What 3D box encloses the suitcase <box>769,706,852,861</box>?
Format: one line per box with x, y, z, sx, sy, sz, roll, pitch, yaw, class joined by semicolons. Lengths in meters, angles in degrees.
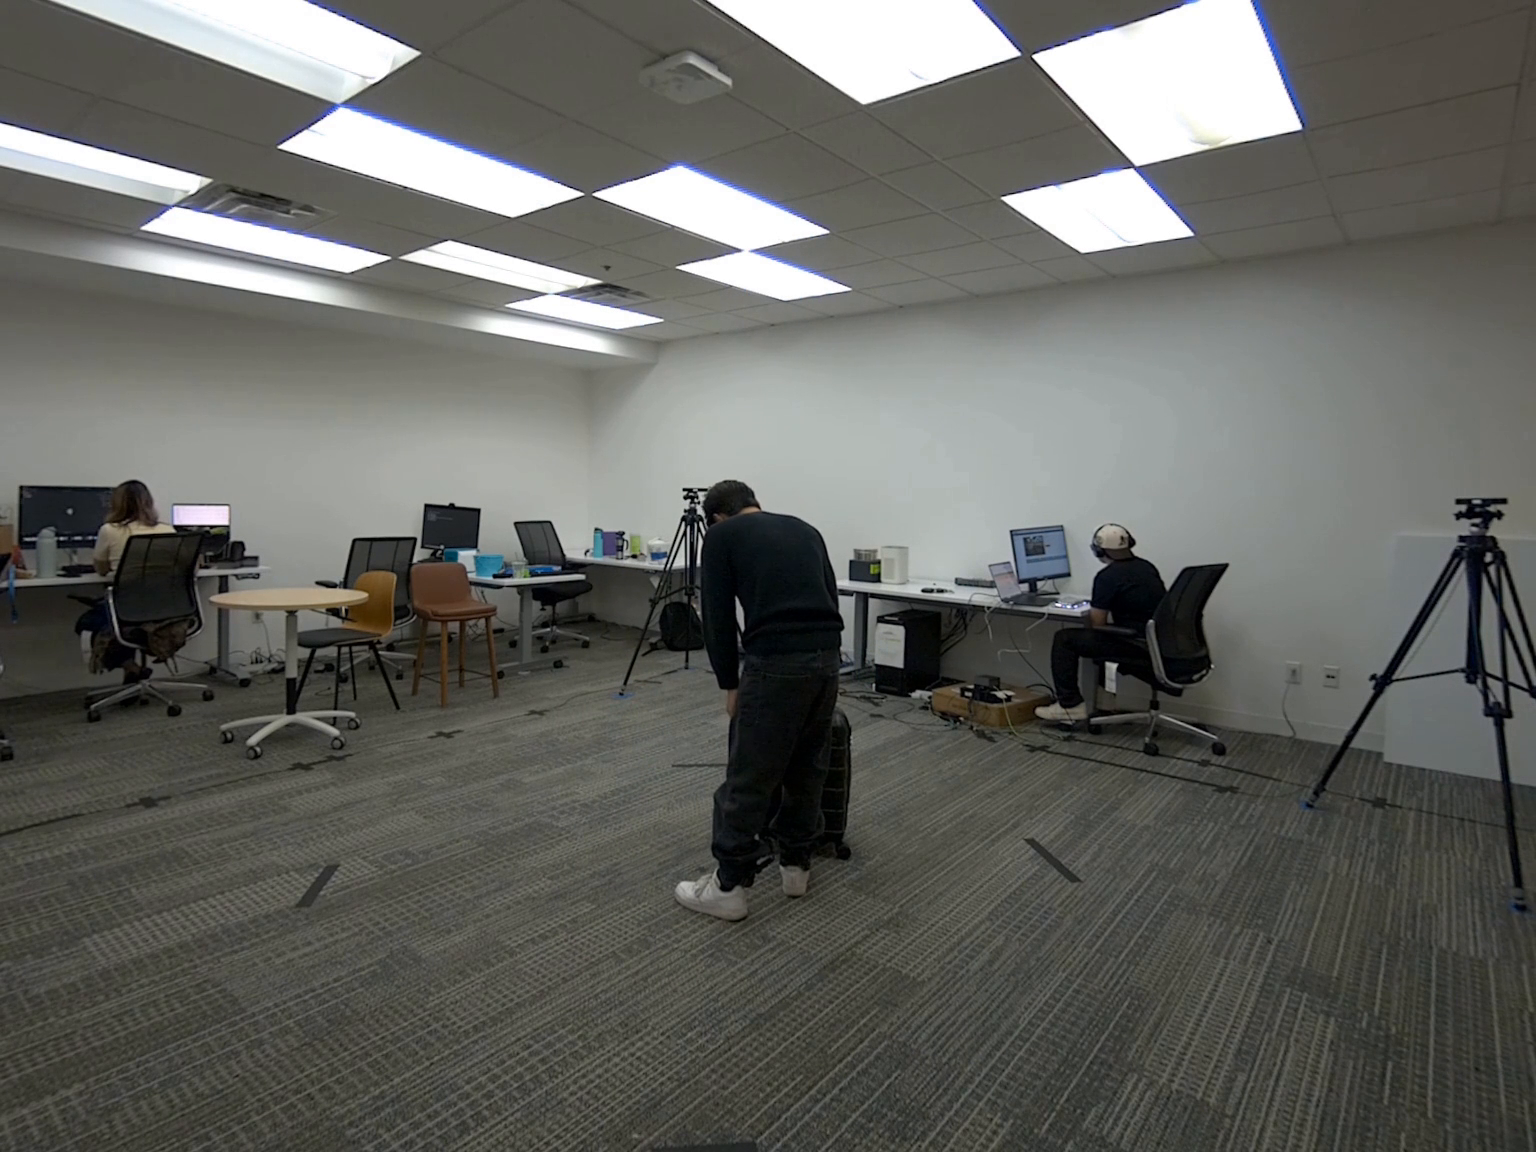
0.129;0.771;3.336;0.379;0.547;0.247;3;4;8;suitcase
